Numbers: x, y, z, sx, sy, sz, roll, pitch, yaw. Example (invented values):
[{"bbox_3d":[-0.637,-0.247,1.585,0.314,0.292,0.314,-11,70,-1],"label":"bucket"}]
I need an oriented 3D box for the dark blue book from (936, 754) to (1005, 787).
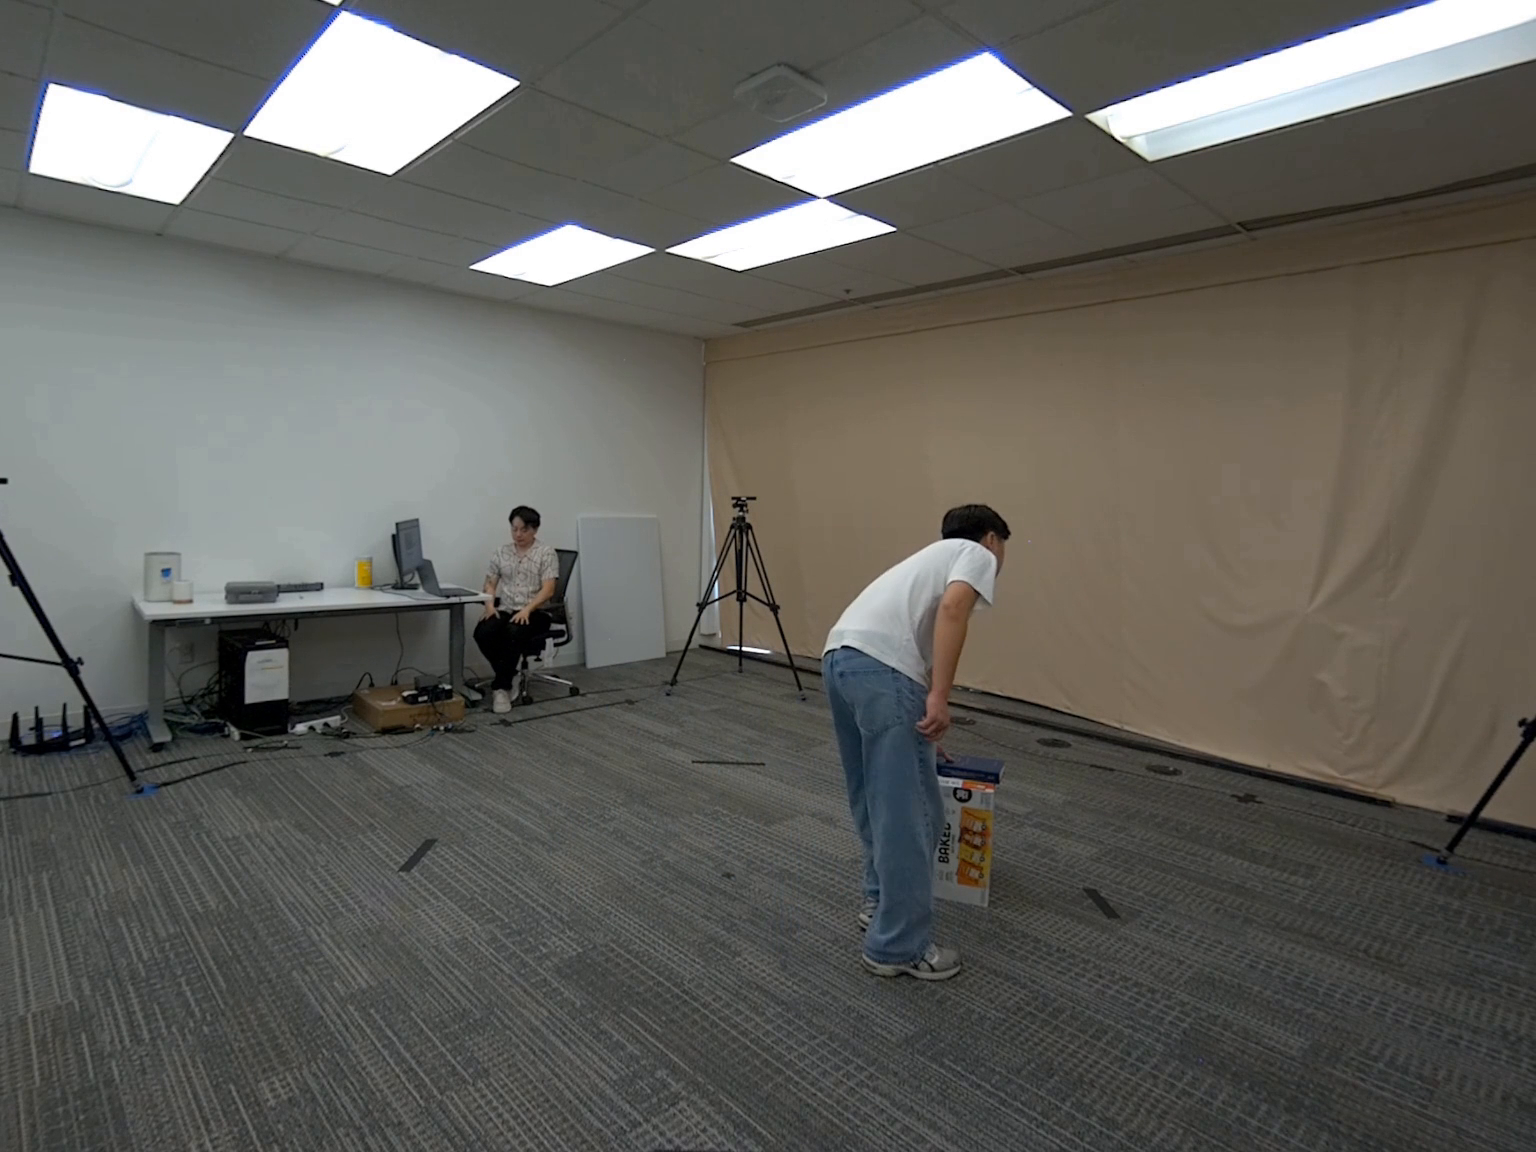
[{"bbox_3d":[0.737,0.707,3.098,0.250,0.045,0.161,2,4,25],"label":"dark blue book"}]
